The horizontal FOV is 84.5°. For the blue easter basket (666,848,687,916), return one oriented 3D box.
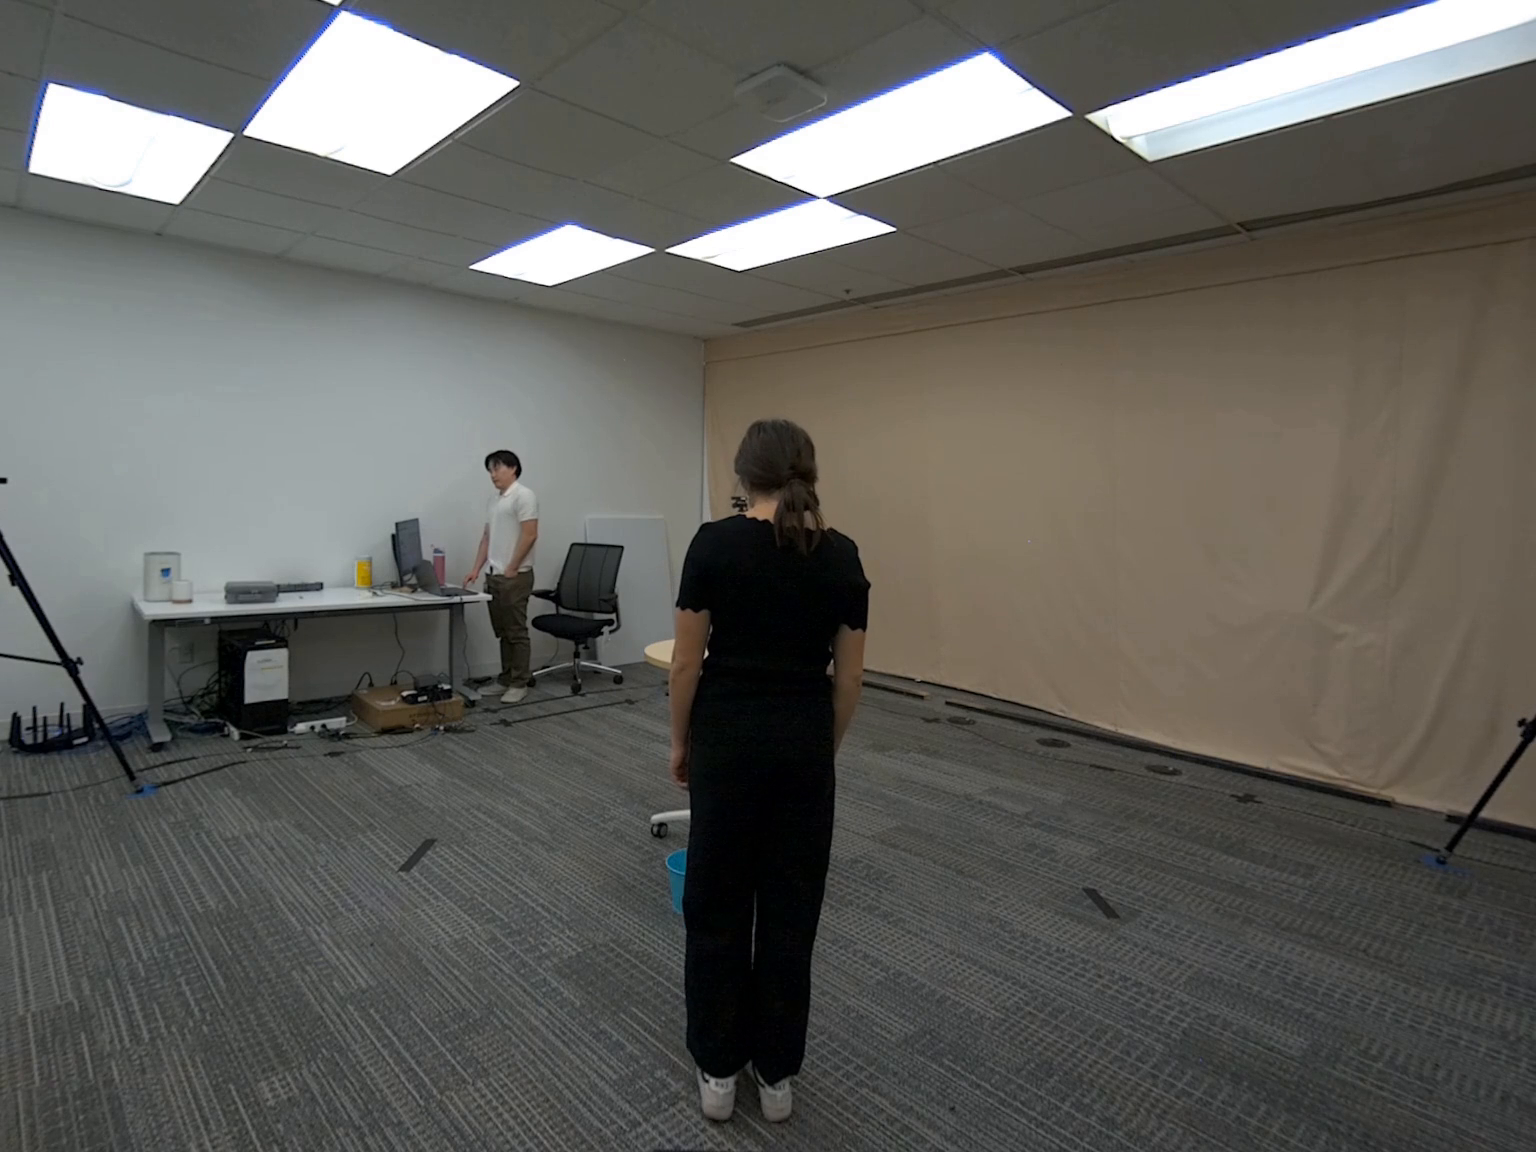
[{"bbox_3d":[-0.240,1.047,2.870,0.243,0.155,0.244,1,5,-1],"label":"blue easter basket"}]
